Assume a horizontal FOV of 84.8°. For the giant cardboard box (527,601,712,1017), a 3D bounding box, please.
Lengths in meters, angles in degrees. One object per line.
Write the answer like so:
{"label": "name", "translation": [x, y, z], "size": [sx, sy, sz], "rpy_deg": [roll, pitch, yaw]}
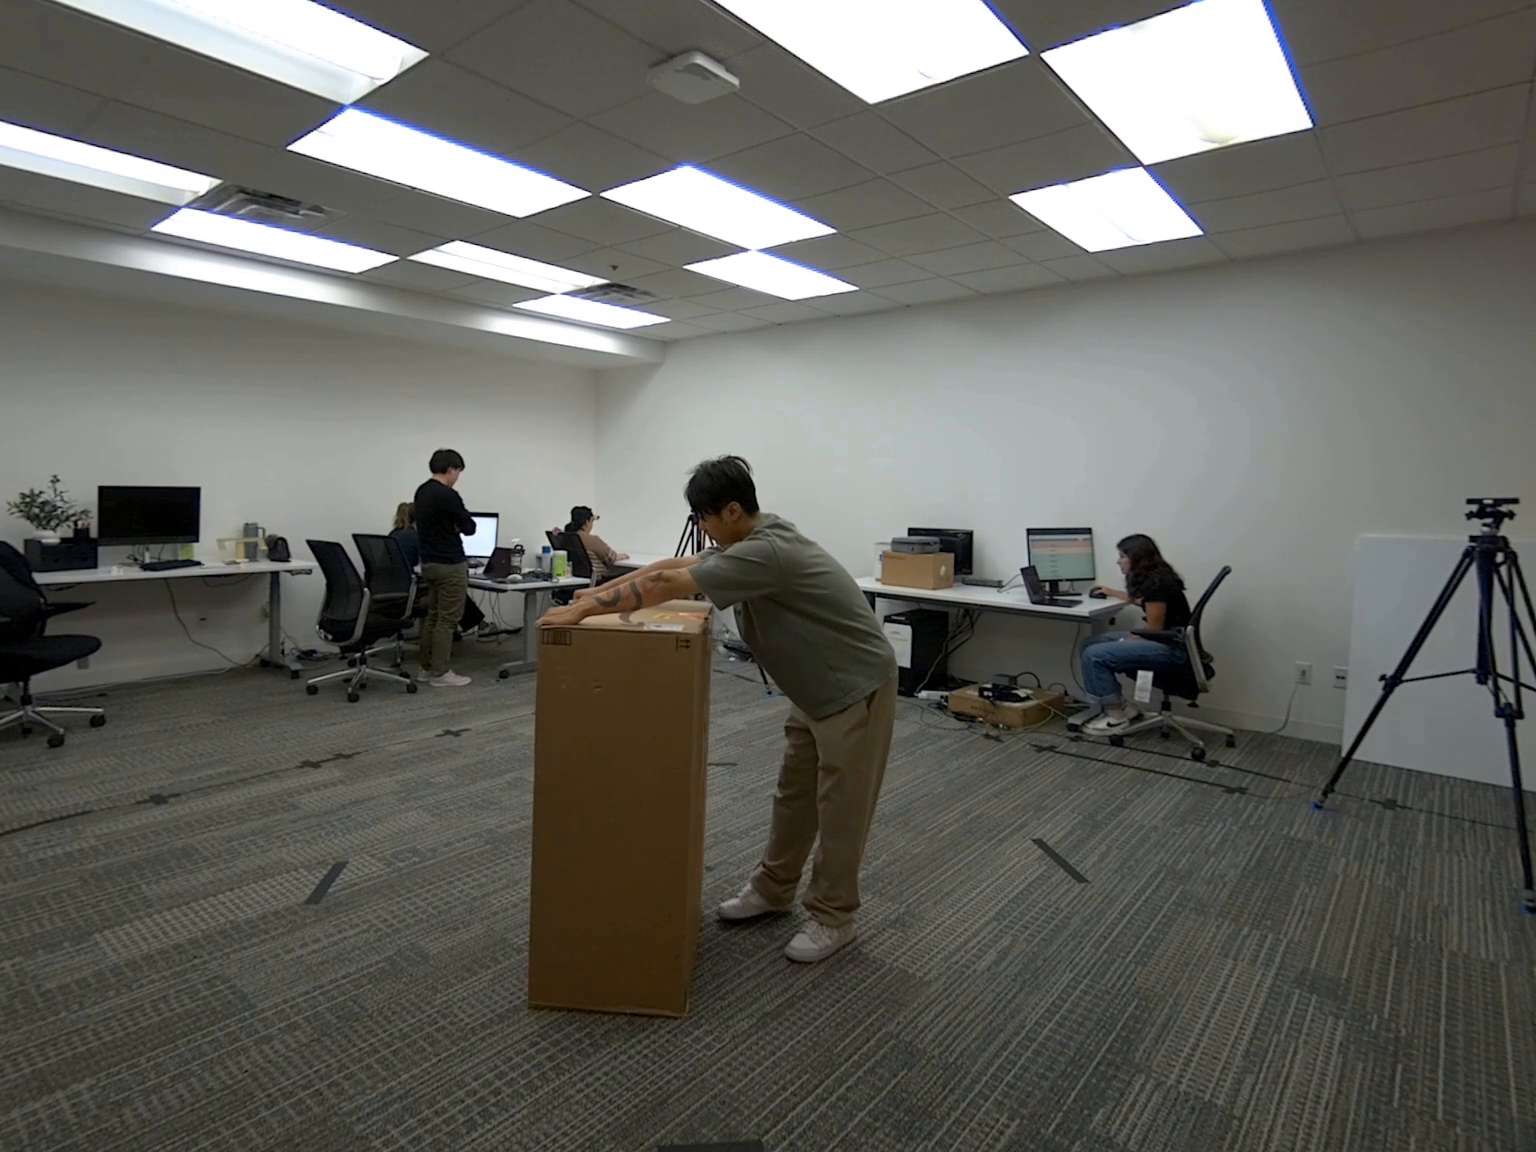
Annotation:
{"label": "giant cardboard box", "translation": [-0.411, 0.611, 2.485], "size": [0.427, 1.023, 0.578], "rpy_deg": [2, 4, 0]}
